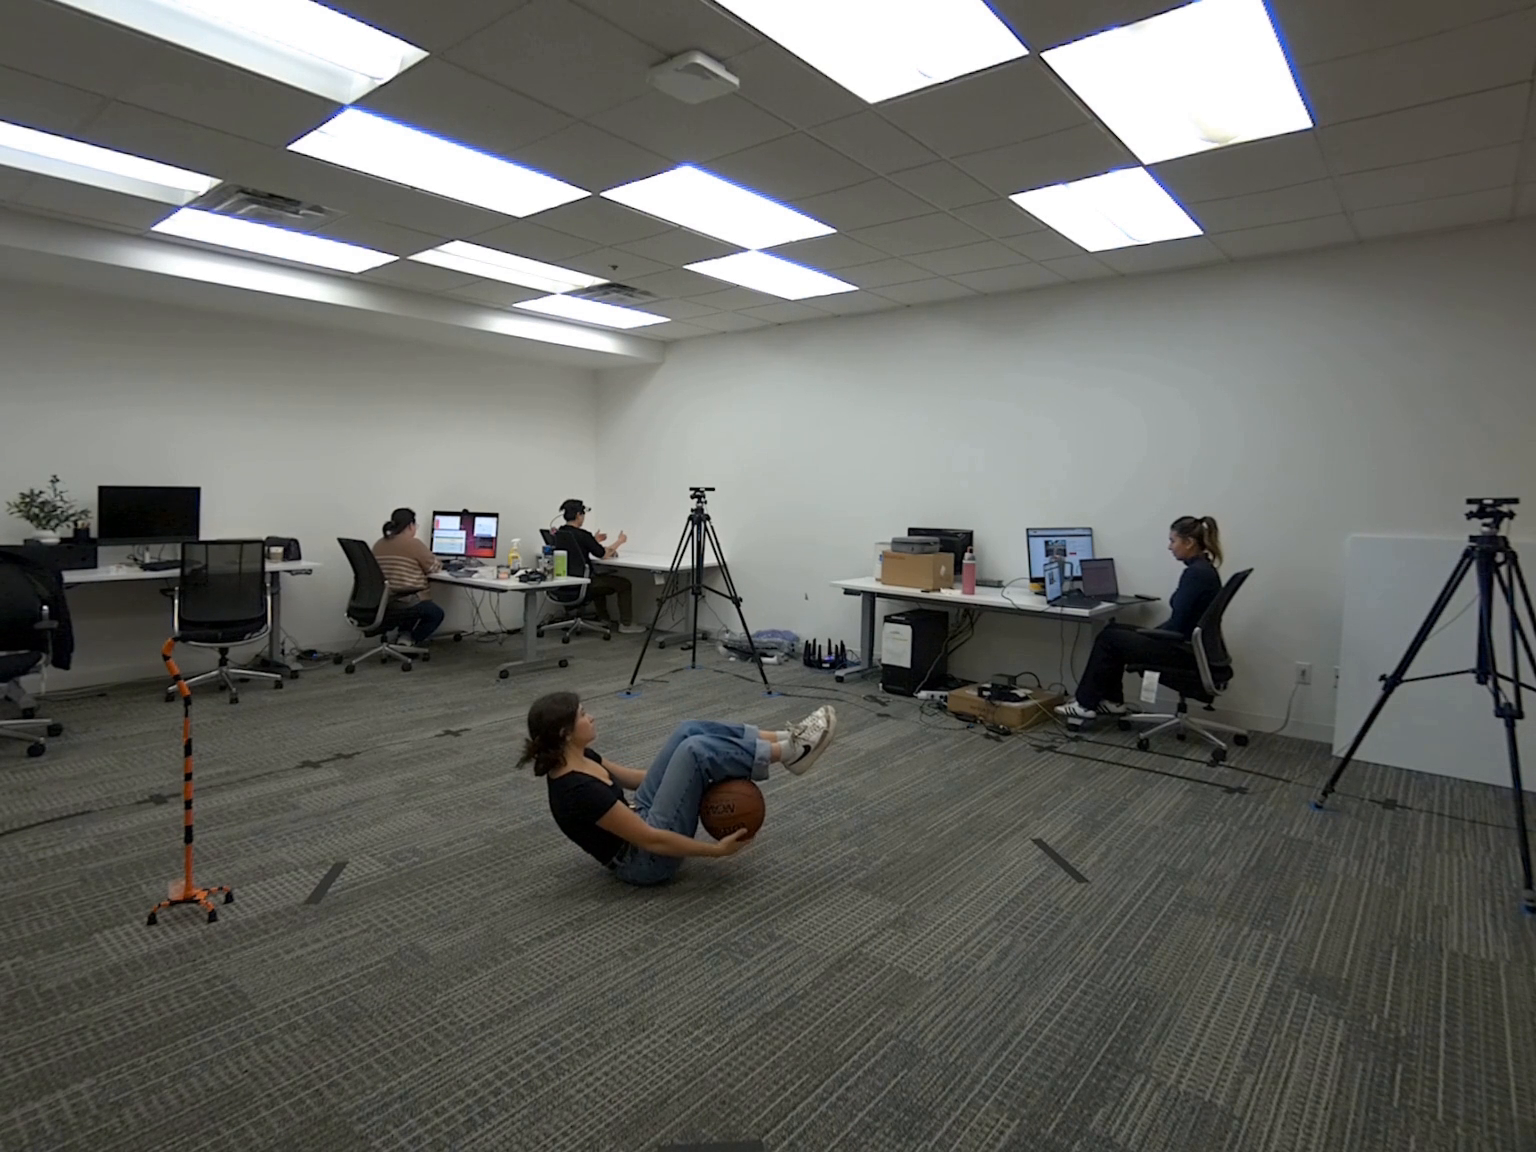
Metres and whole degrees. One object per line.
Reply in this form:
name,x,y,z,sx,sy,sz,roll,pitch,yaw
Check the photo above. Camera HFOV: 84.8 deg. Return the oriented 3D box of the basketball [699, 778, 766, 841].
basketball,-0.150,0.836,3.048,0.235,0.235,0.237,1,4,-2
